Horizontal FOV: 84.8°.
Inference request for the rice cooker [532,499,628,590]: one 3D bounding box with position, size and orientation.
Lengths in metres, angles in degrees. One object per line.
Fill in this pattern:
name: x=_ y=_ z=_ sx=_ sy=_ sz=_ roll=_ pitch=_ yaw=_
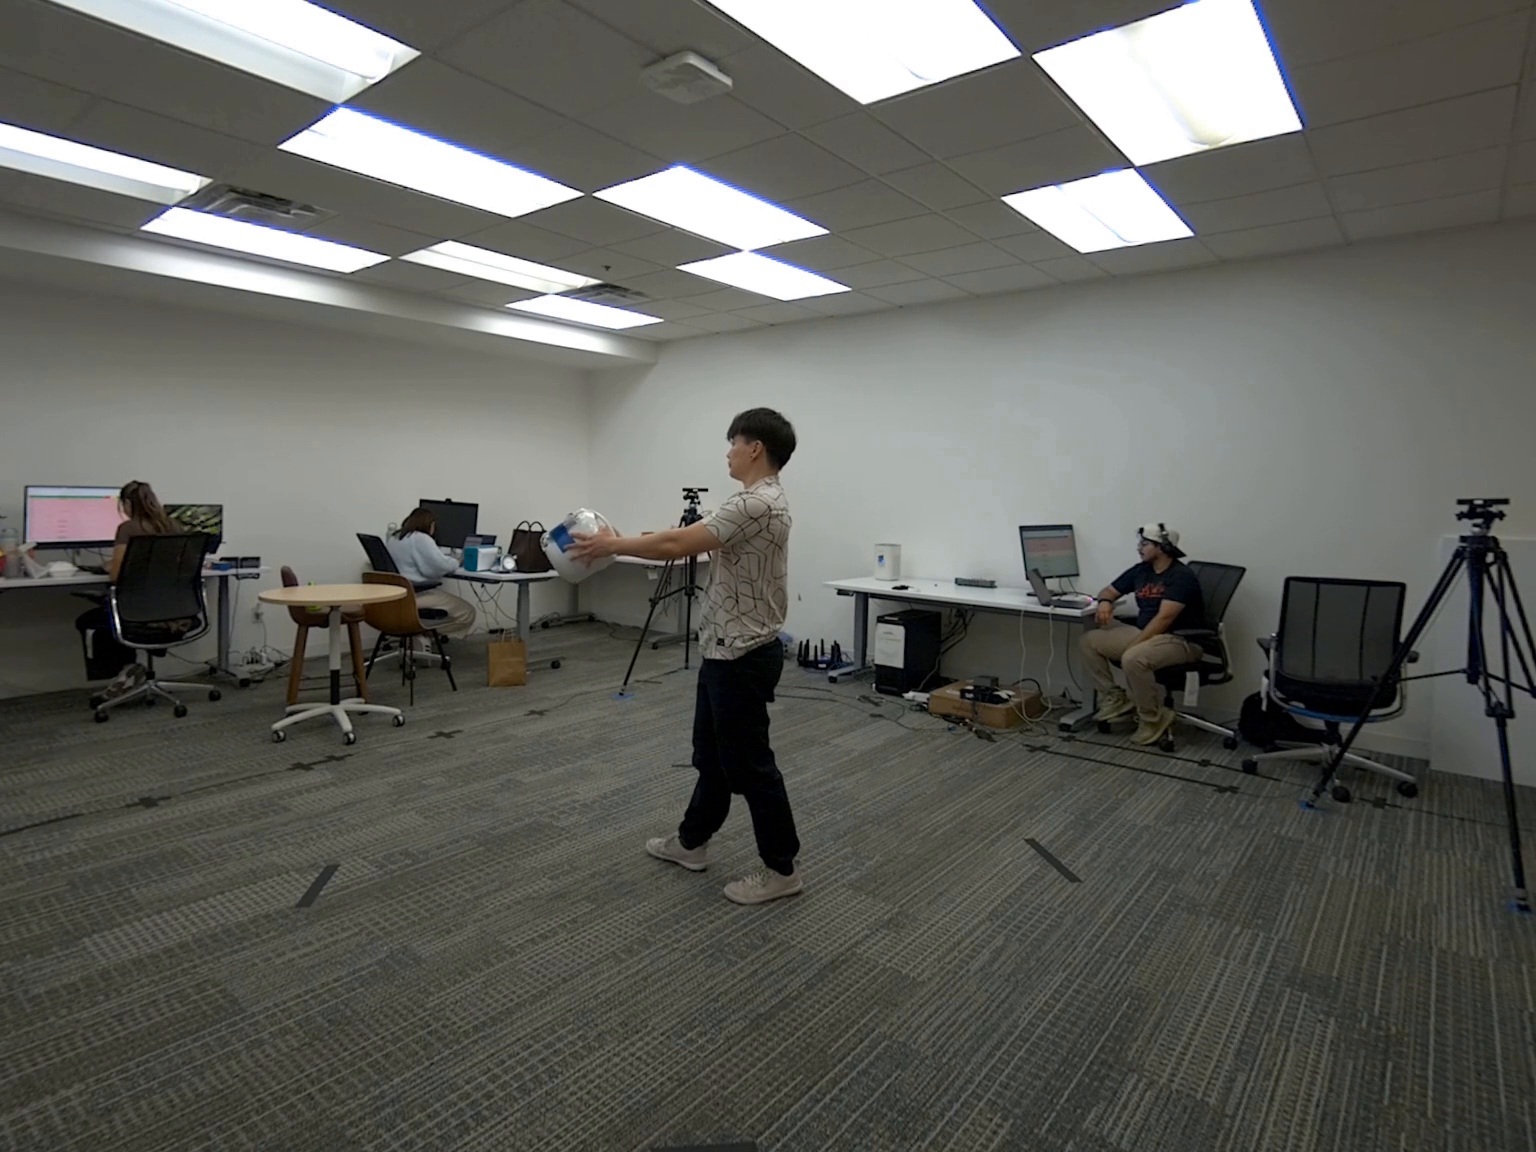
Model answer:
rice cooker: x=-0.651 y=-0.118 z=2.988 sx=0.233 sy=0.221 sz=0.217 roll=-31 pitch=0 yaw=4
